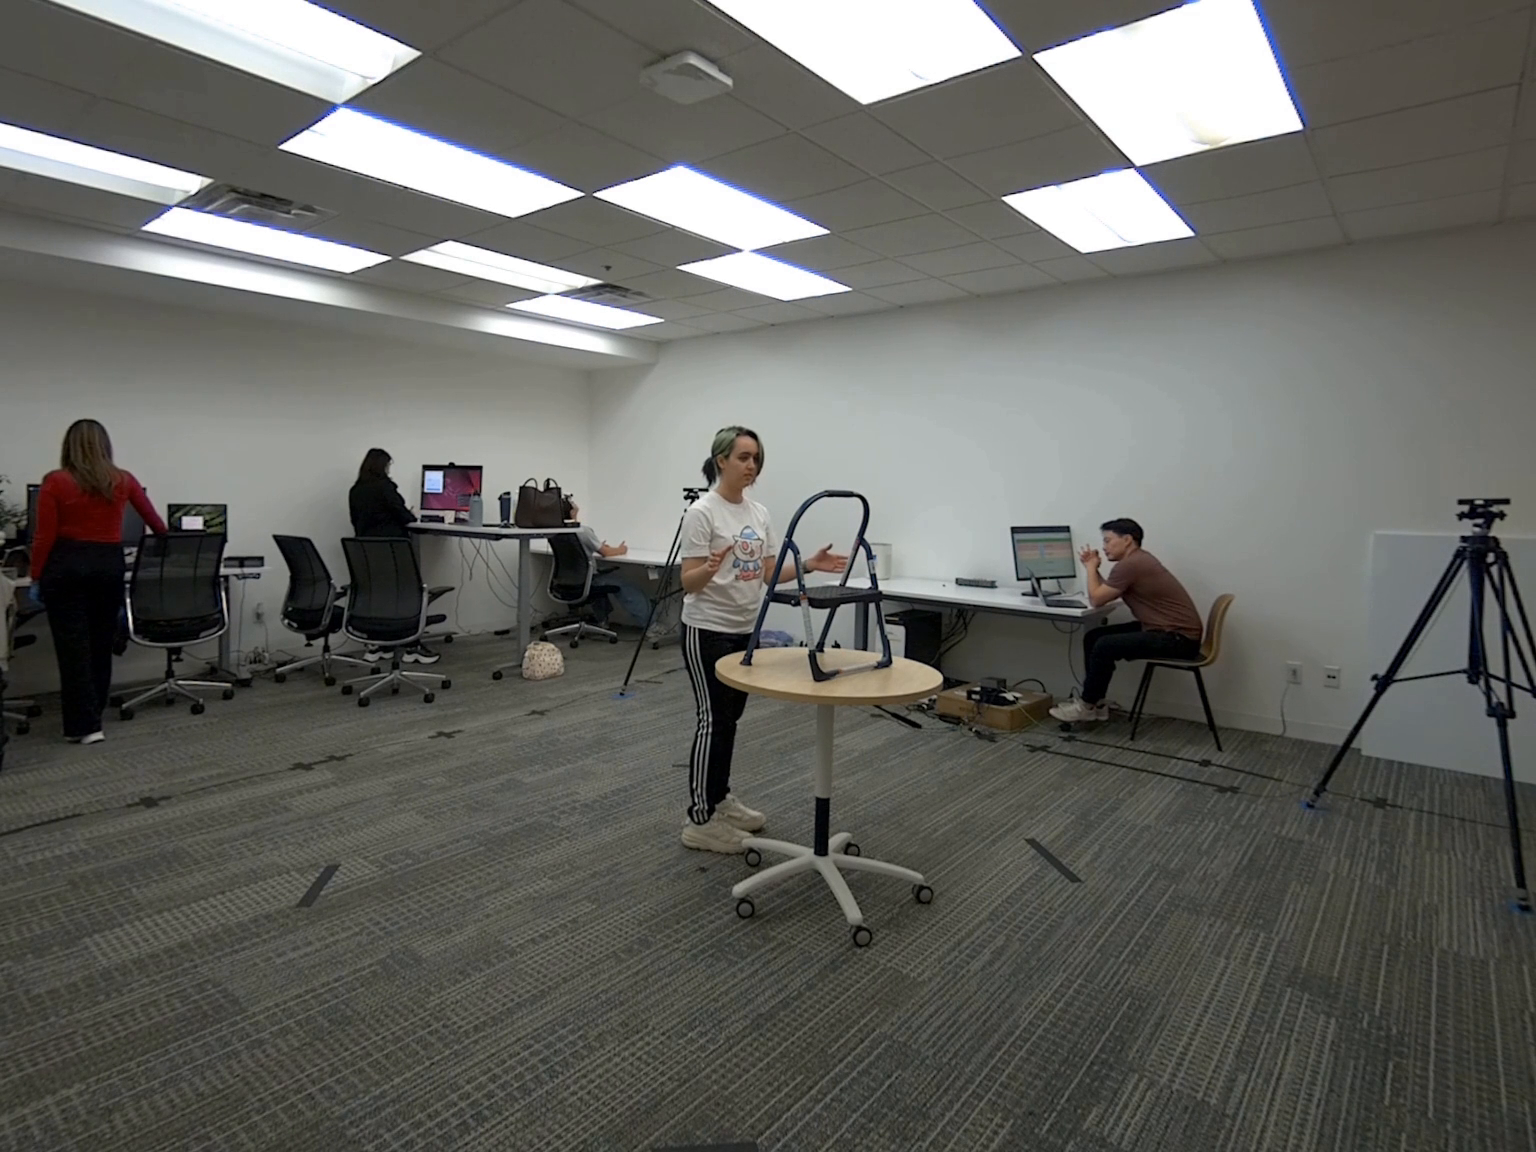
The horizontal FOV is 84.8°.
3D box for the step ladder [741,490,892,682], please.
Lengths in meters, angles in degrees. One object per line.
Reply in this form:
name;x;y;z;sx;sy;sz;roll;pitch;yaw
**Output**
step ladder;0.177;0.007;2.938;0.361;0.604;0.418;5;5;44
